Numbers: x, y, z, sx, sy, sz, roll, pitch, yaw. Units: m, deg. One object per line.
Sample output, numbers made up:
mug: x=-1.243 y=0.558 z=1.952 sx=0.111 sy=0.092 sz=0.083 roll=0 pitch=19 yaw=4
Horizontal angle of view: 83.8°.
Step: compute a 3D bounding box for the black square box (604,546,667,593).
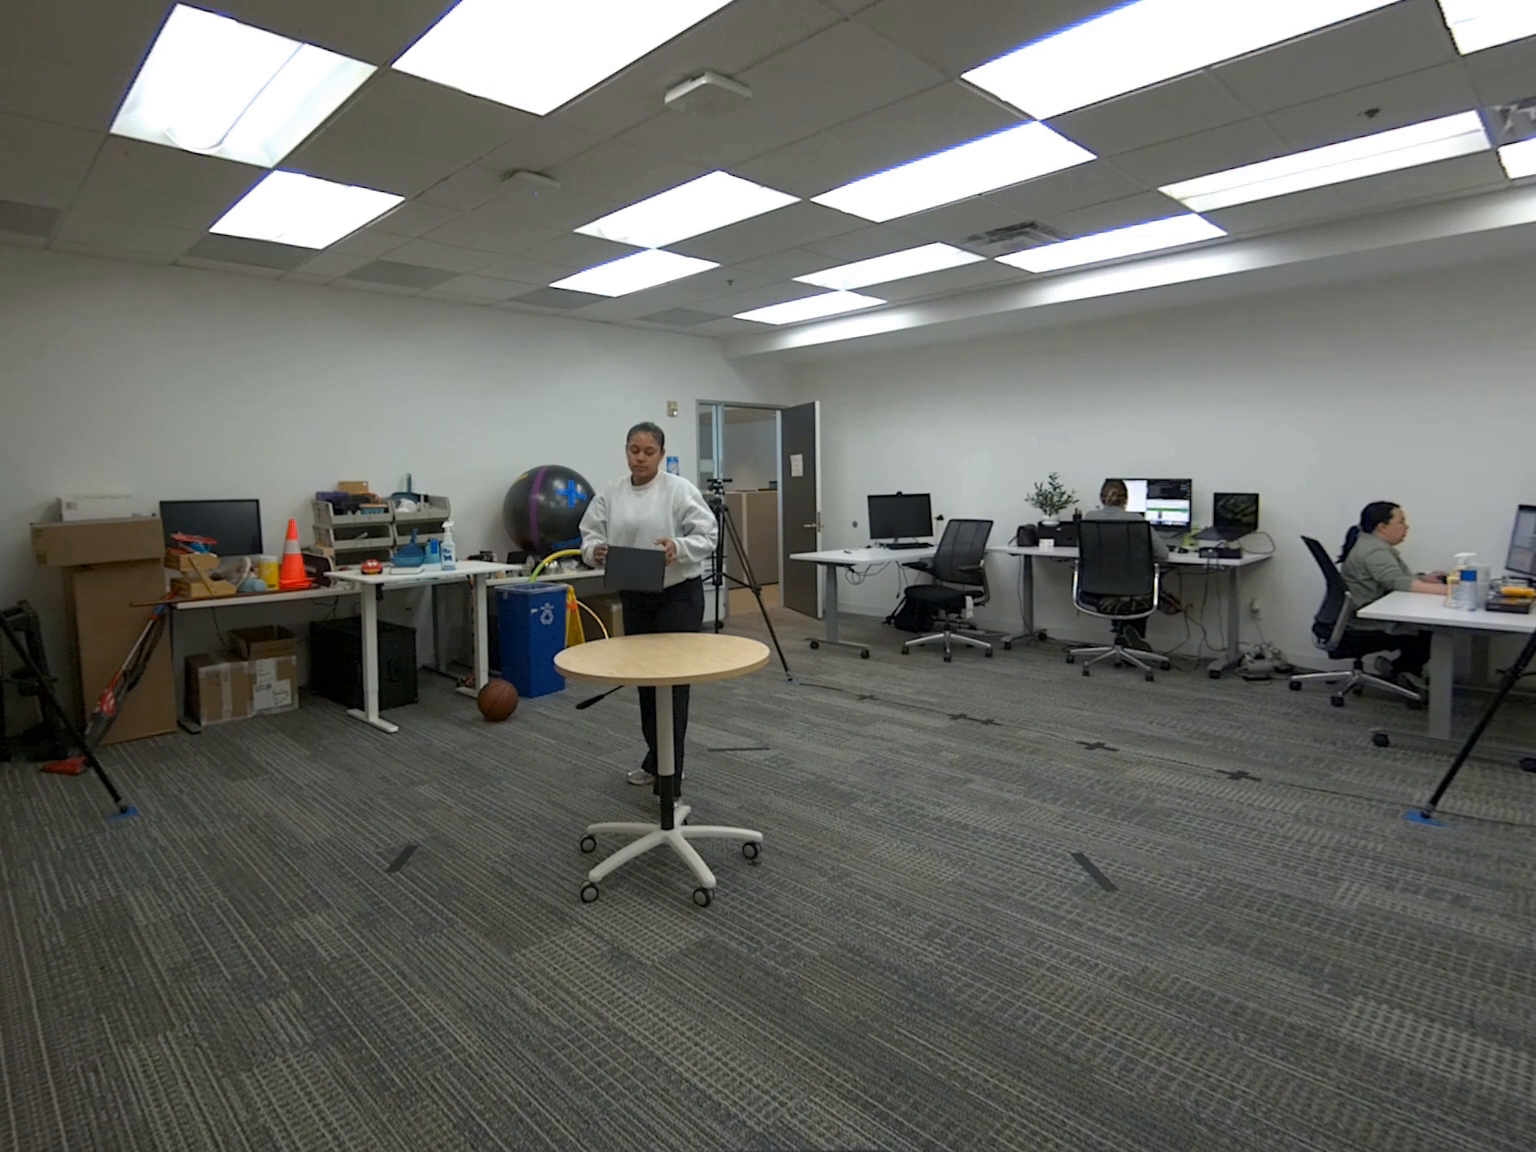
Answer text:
black square box: x=-0.531 y=-0.013 z=3.379 sx=0.227 sy=0.156 sz=0.217 roll=2 pitch=-2 yaw=-4
